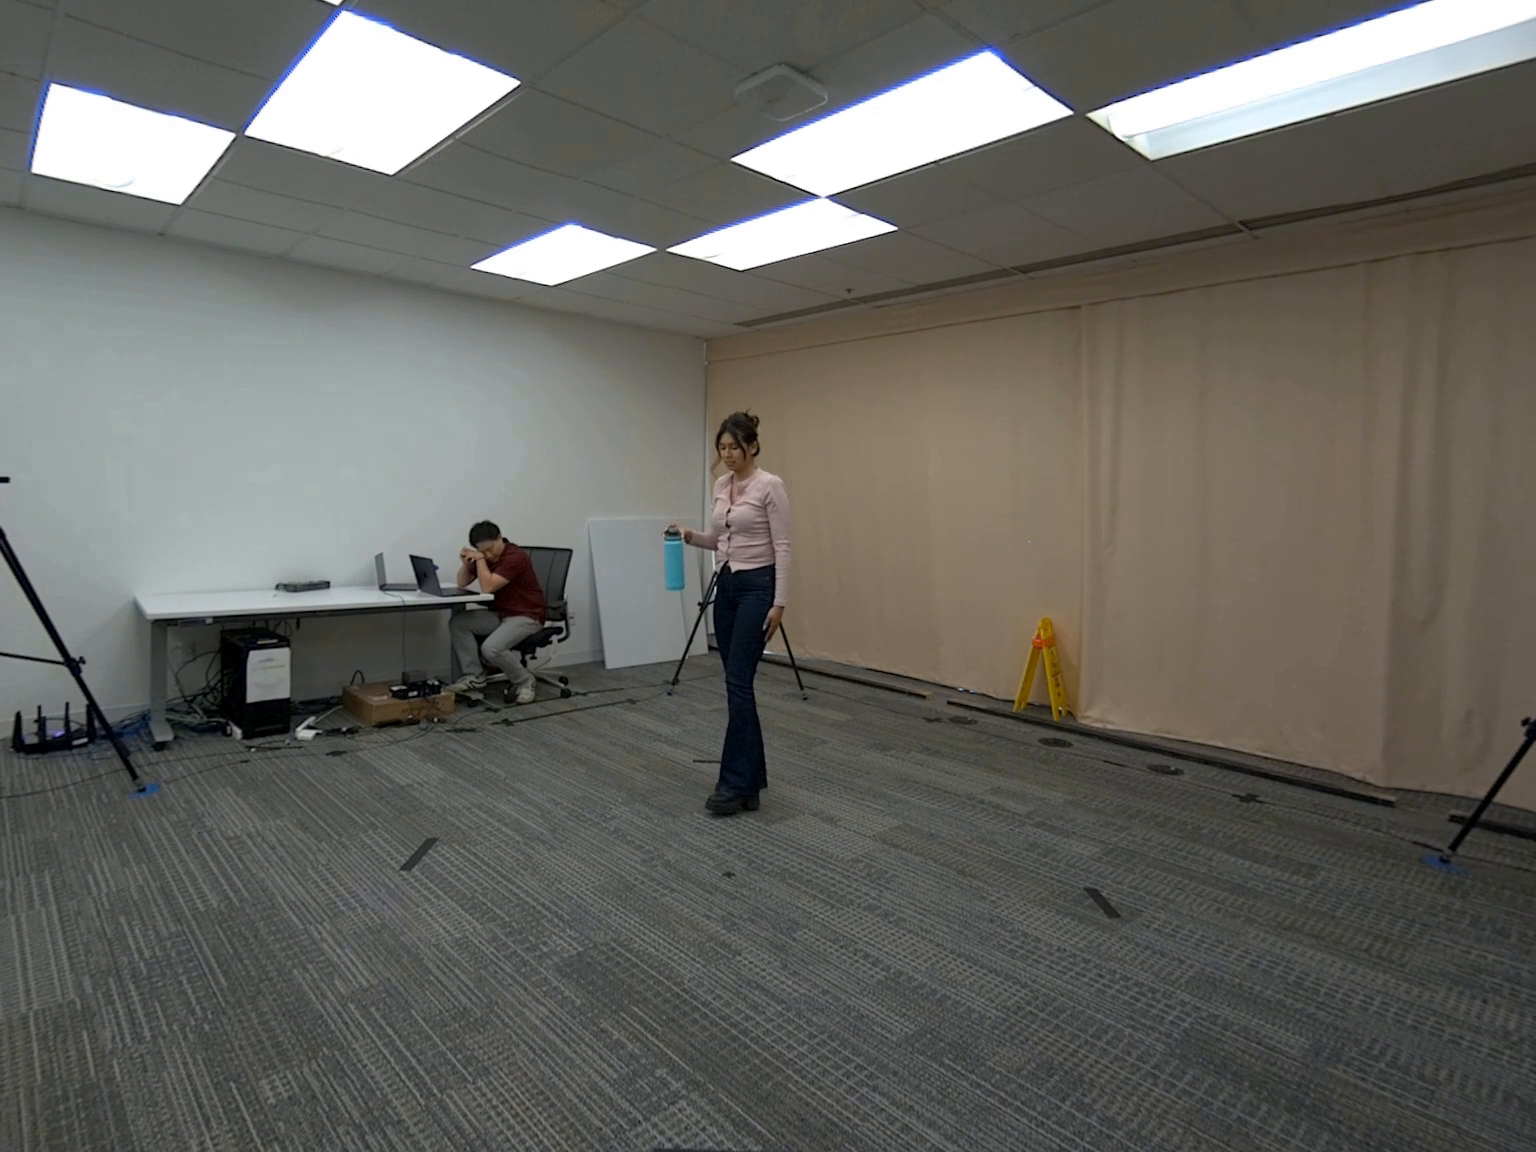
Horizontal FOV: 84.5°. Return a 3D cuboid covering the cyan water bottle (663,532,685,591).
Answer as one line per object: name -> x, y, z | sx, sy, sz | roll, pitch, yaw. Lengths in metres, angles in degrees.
cyan water bottle -> -0.446, -0.081, 3.866 | 0.092, 0.282, 0.093 | -1, 8, -1
